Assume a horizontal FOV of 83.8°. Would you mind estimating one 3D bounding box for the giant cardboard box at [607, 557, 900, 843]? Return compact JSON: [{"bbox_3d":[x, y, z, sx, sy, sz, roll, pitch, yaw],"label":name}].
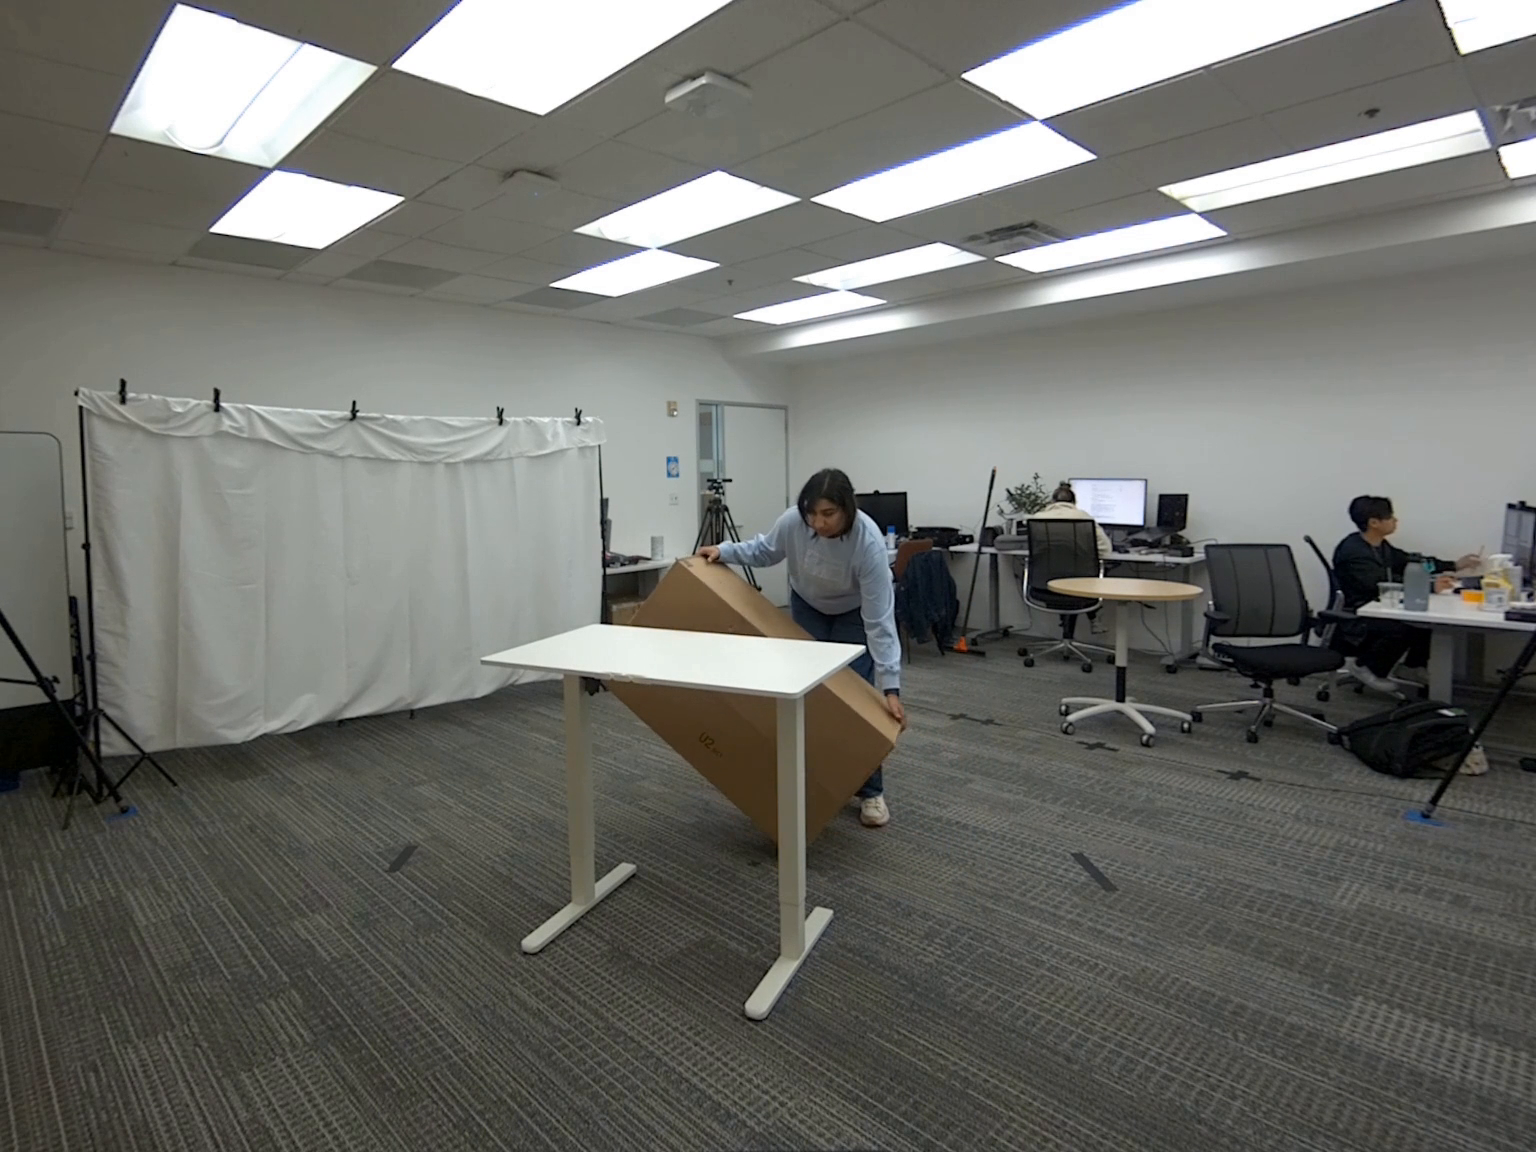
[{"bbox_3d":[-0.057,0.458,3.304,1.043,0.576,0.420,39,12,12],"label":"giant cardboard box"}]
